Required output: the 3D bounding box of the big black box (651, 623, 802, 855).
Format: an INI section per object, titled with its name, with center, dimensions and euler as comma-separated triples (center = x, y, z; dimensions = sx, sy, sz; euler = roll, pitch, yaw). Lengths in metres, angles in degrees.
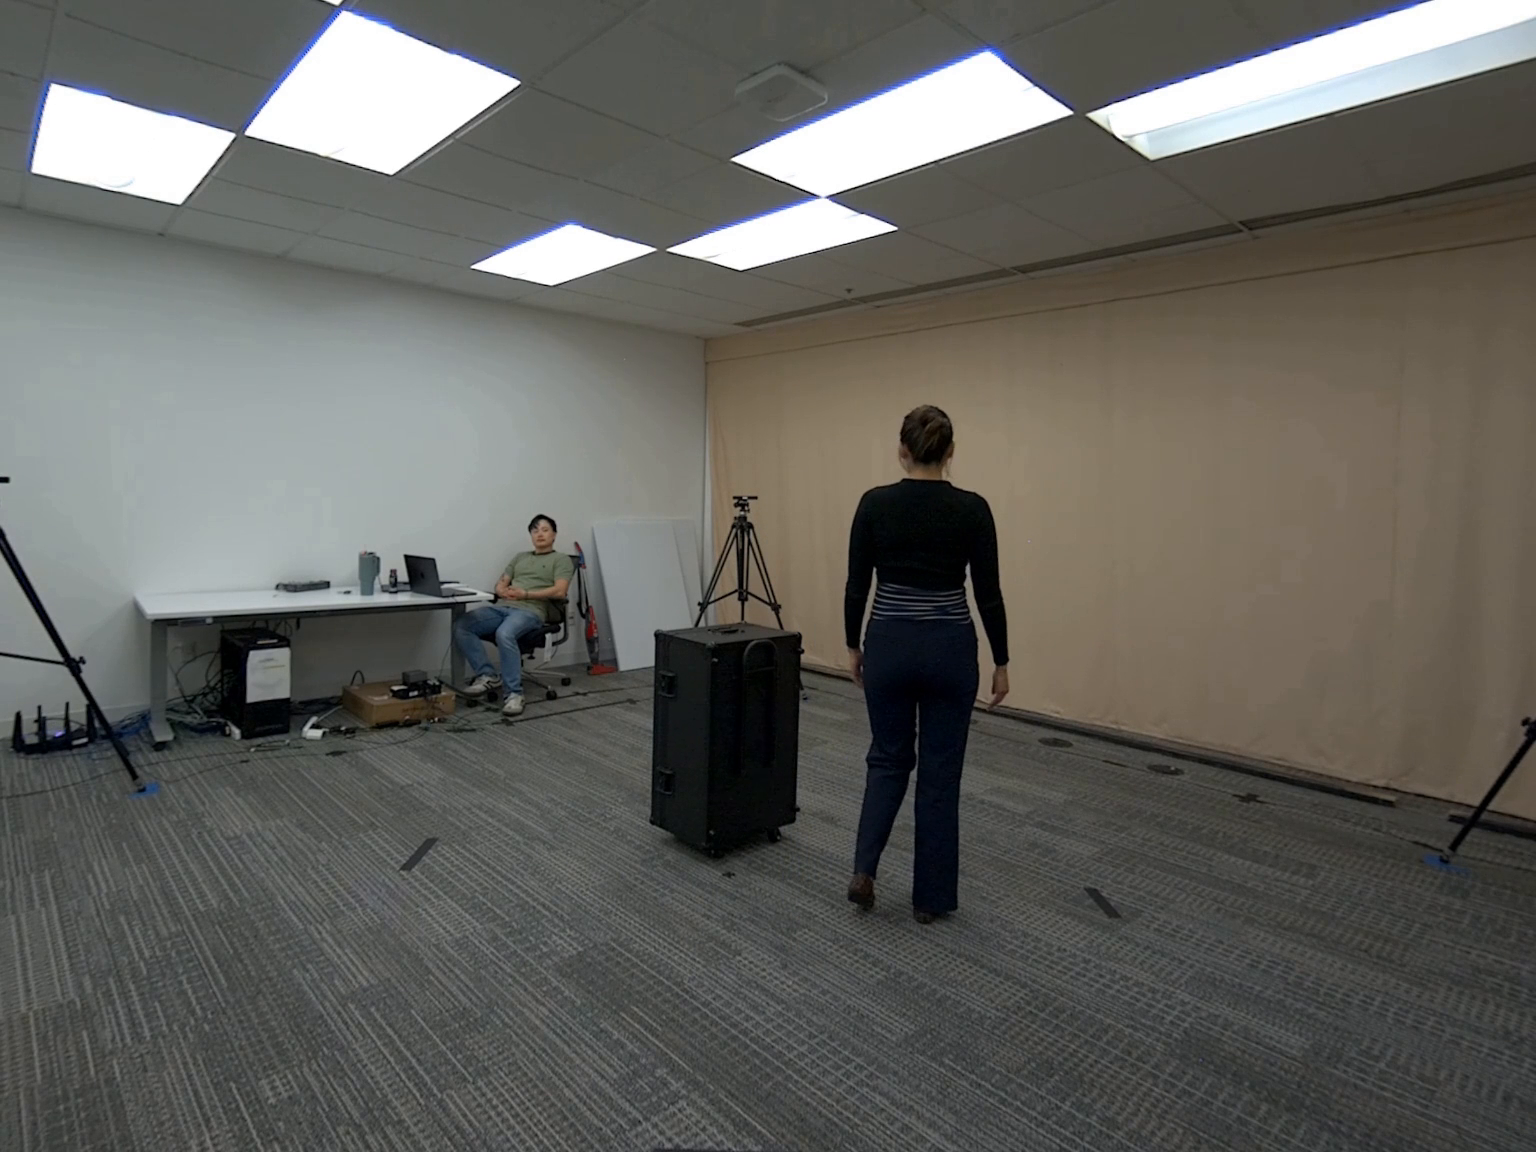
[big black box]
center = -0.171, 0.596, 3.390
dimensions = 0.509, 0.859, 0.406
euler = -1, 4, -43
